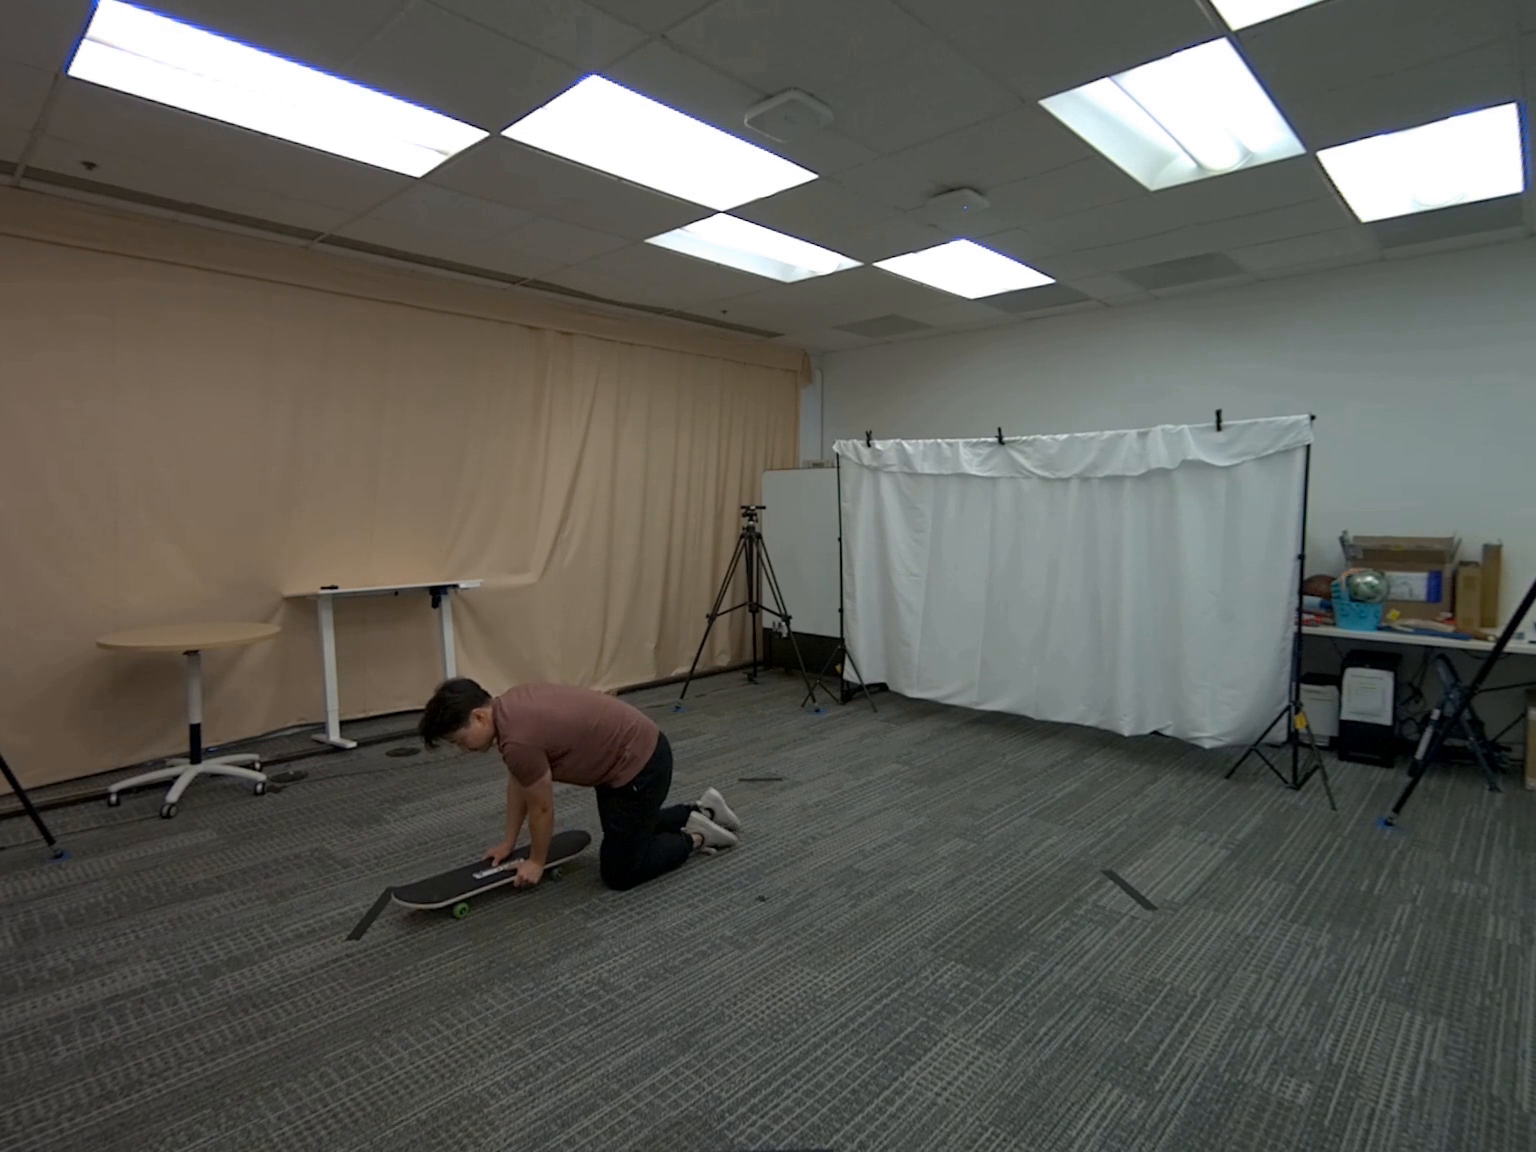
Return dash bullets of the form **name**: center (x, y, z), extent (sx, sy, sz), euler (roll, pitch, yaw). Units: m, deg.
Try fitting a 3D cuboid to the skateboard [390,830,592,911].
- **skateboard**: center (-0.980, 1.097, 3.057), extent (0.200, 0.110, 0.761), euler (7, 8, 42)
